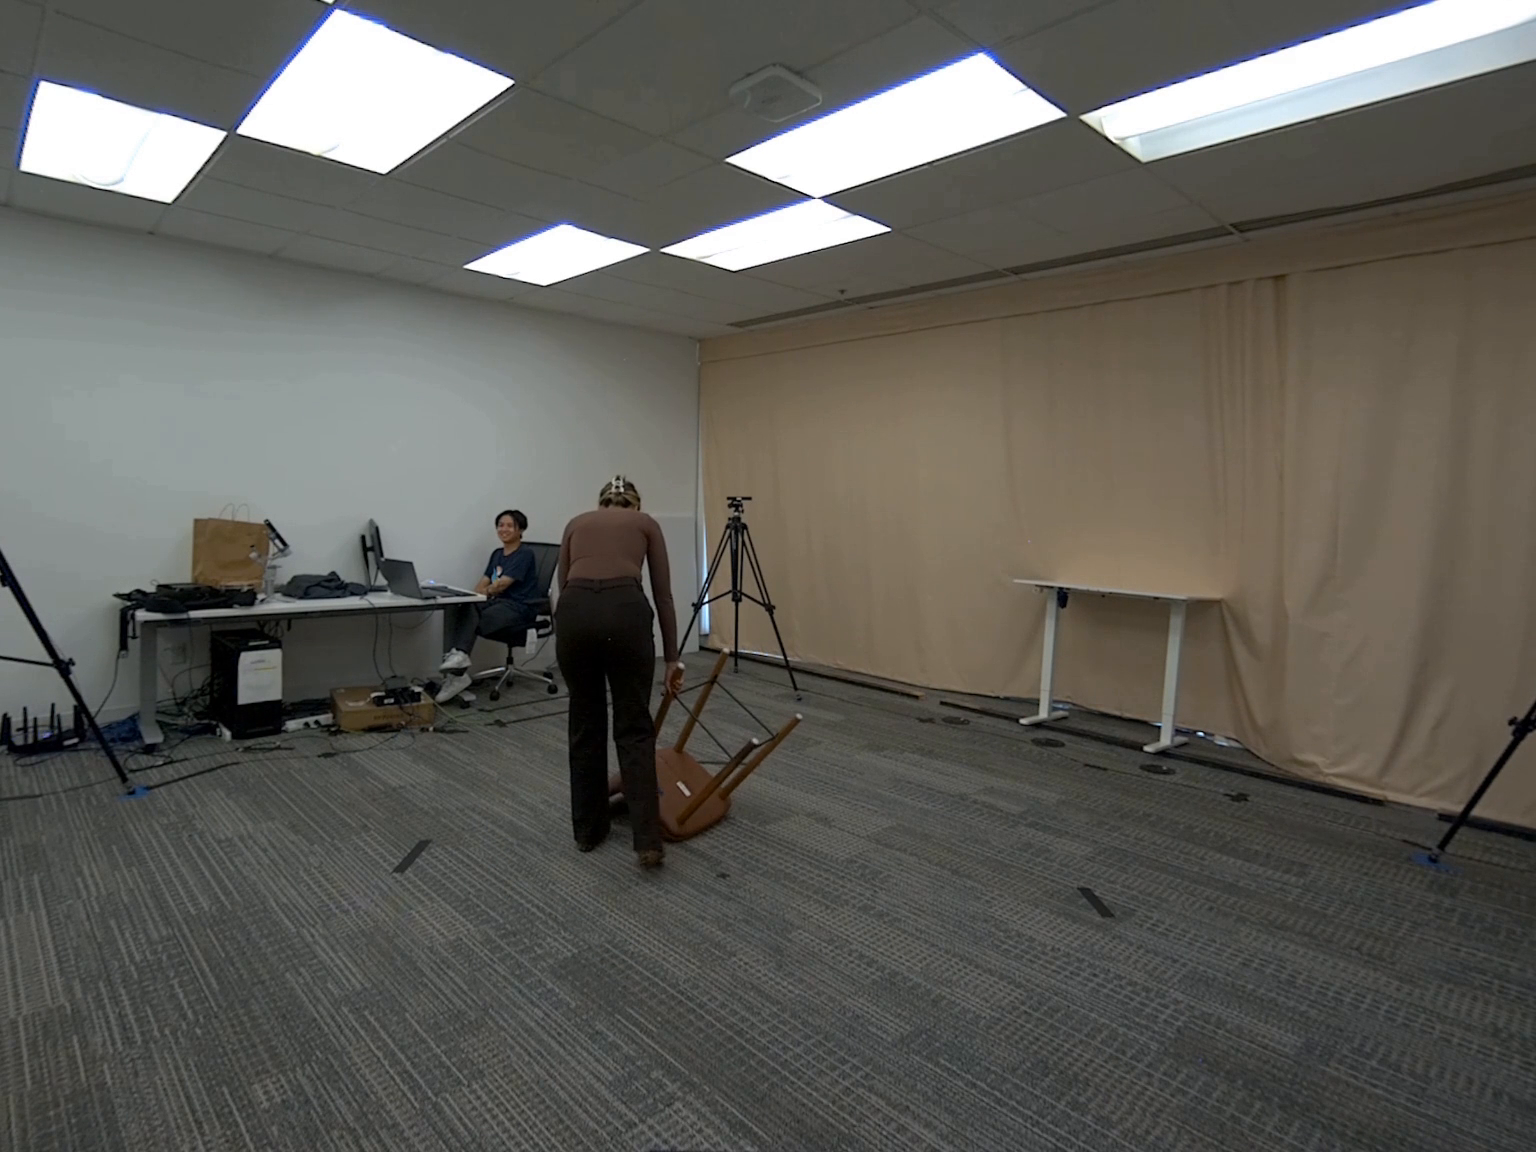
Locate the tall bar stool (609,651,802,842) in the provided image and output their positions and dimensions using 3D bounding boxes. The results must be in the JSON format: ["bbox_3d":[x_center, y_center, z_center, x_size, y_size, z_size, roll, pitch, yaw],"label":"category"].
[{"bbox_3d":[-0.345,0.809,3.573,0.478,0.887,0.448,44,23,20],"label":"tall bar stool"}]
